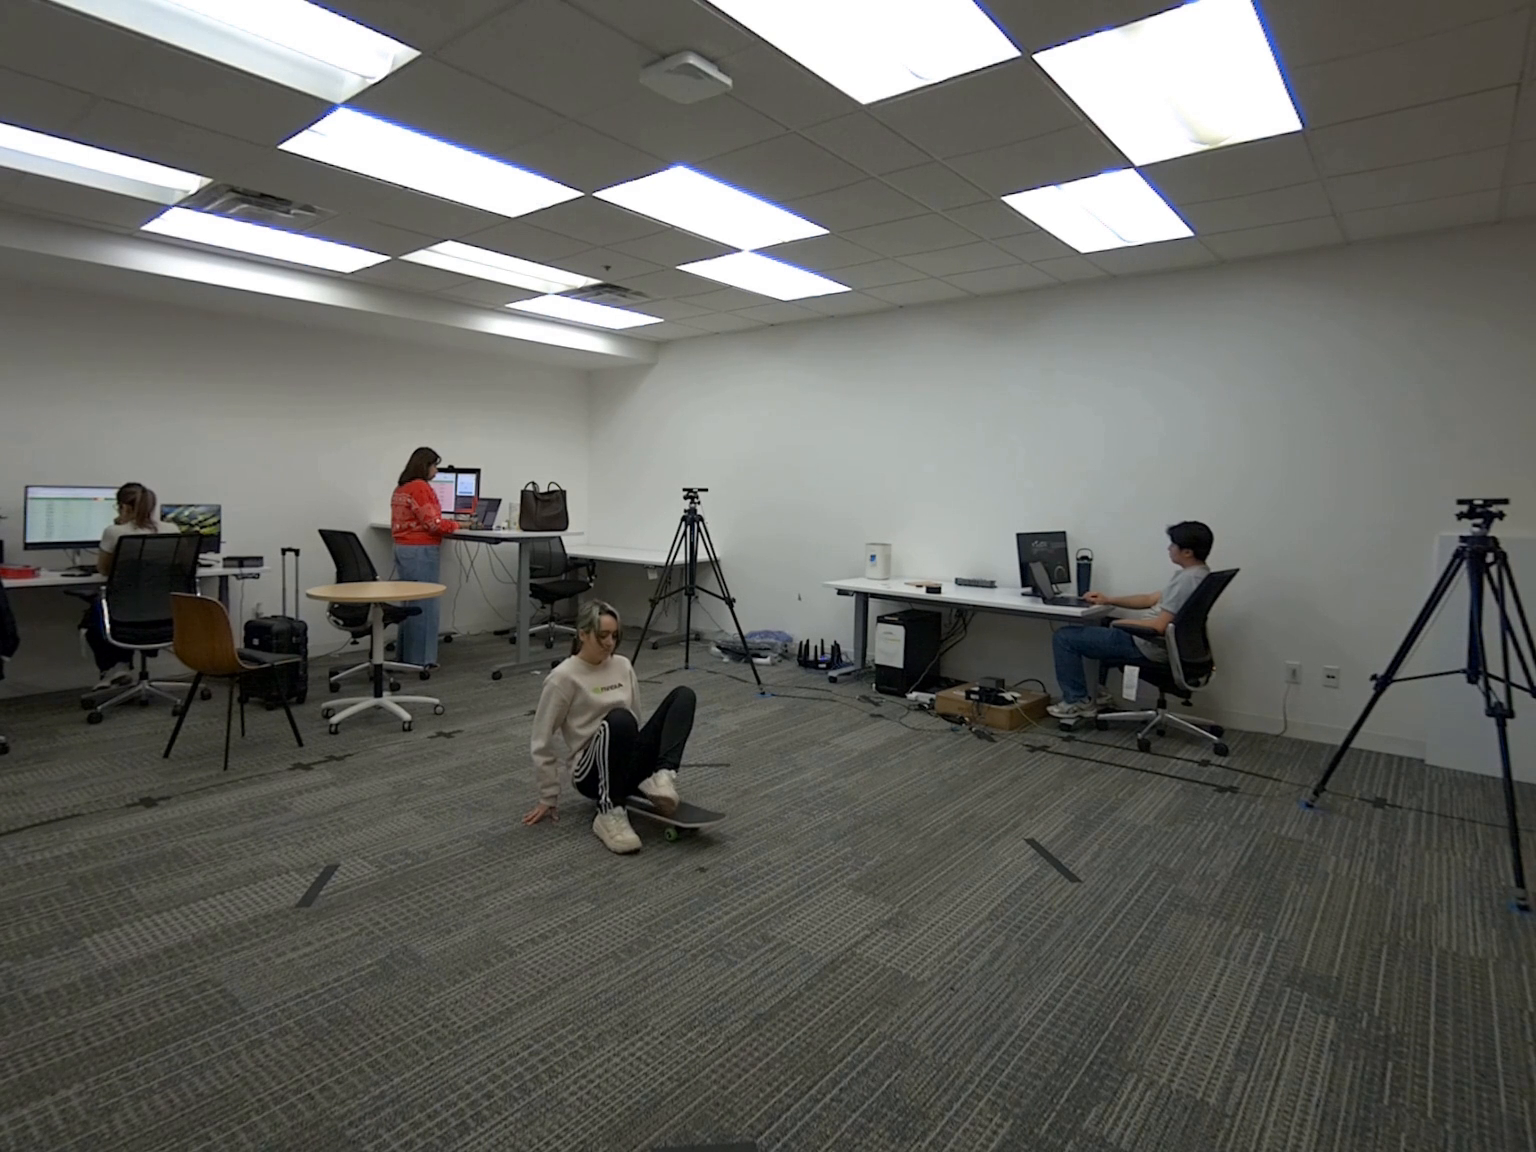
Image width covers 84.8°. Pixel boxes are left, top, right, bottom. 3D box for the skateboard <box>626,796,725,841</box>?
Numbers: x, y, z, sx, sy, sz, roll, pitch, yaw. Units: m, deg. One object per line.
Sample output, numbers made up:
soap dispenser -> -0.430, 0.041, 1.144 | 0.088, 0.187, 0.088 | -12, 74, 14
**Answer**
skateboard -> -0.513, 0.971, 3.526 | 0.810, 0.110, 0.188 | 4, 5, 35
